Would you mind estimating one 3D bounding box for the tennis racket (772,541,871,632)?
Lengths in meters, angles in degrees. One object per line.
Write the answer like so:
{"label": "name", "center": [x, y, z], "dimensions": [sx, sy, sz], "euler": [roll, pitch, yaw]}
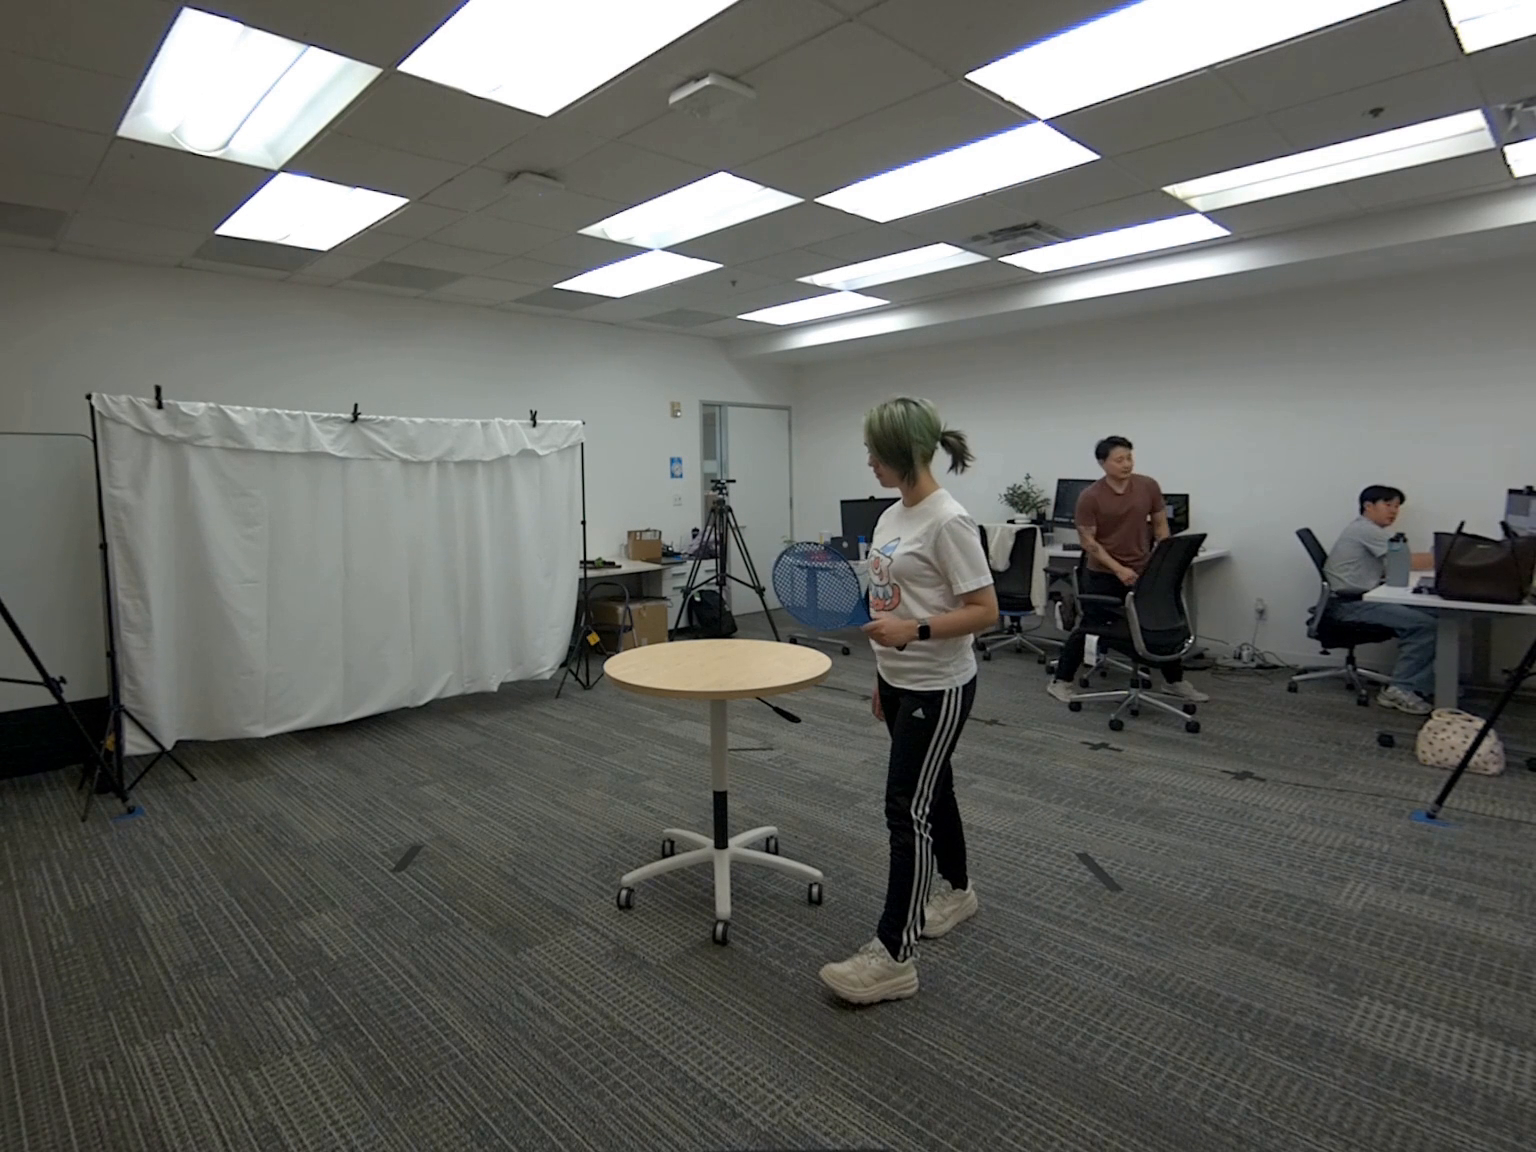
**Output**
{"label": "tennis racket", "center": [0.200, 0.061, 2.250], "dimensions": [0.426, 0.214, 0.032], "euler": [33, -11, -12]}
